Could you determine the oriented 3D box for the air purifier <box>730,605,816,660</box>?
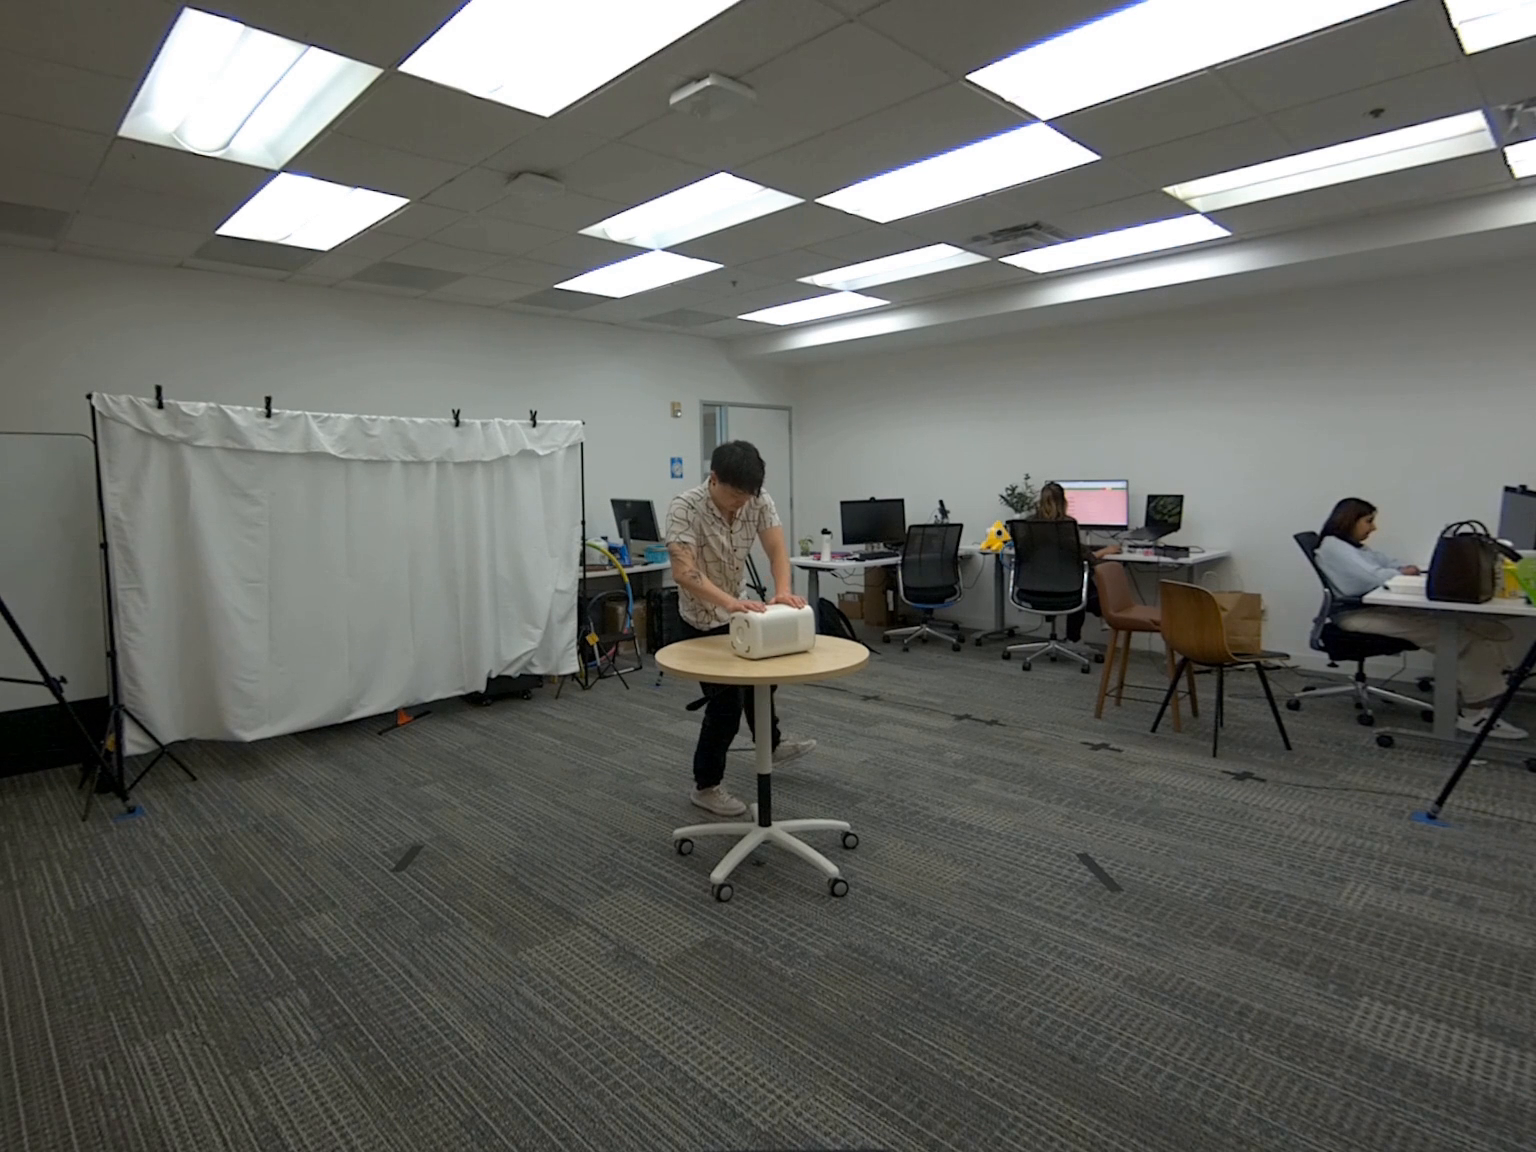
[{"bbox_3d":[0.016,0.189,3.029,0.259,0.171,0.176,-5,4,-33],"label":"air purifier"}]
